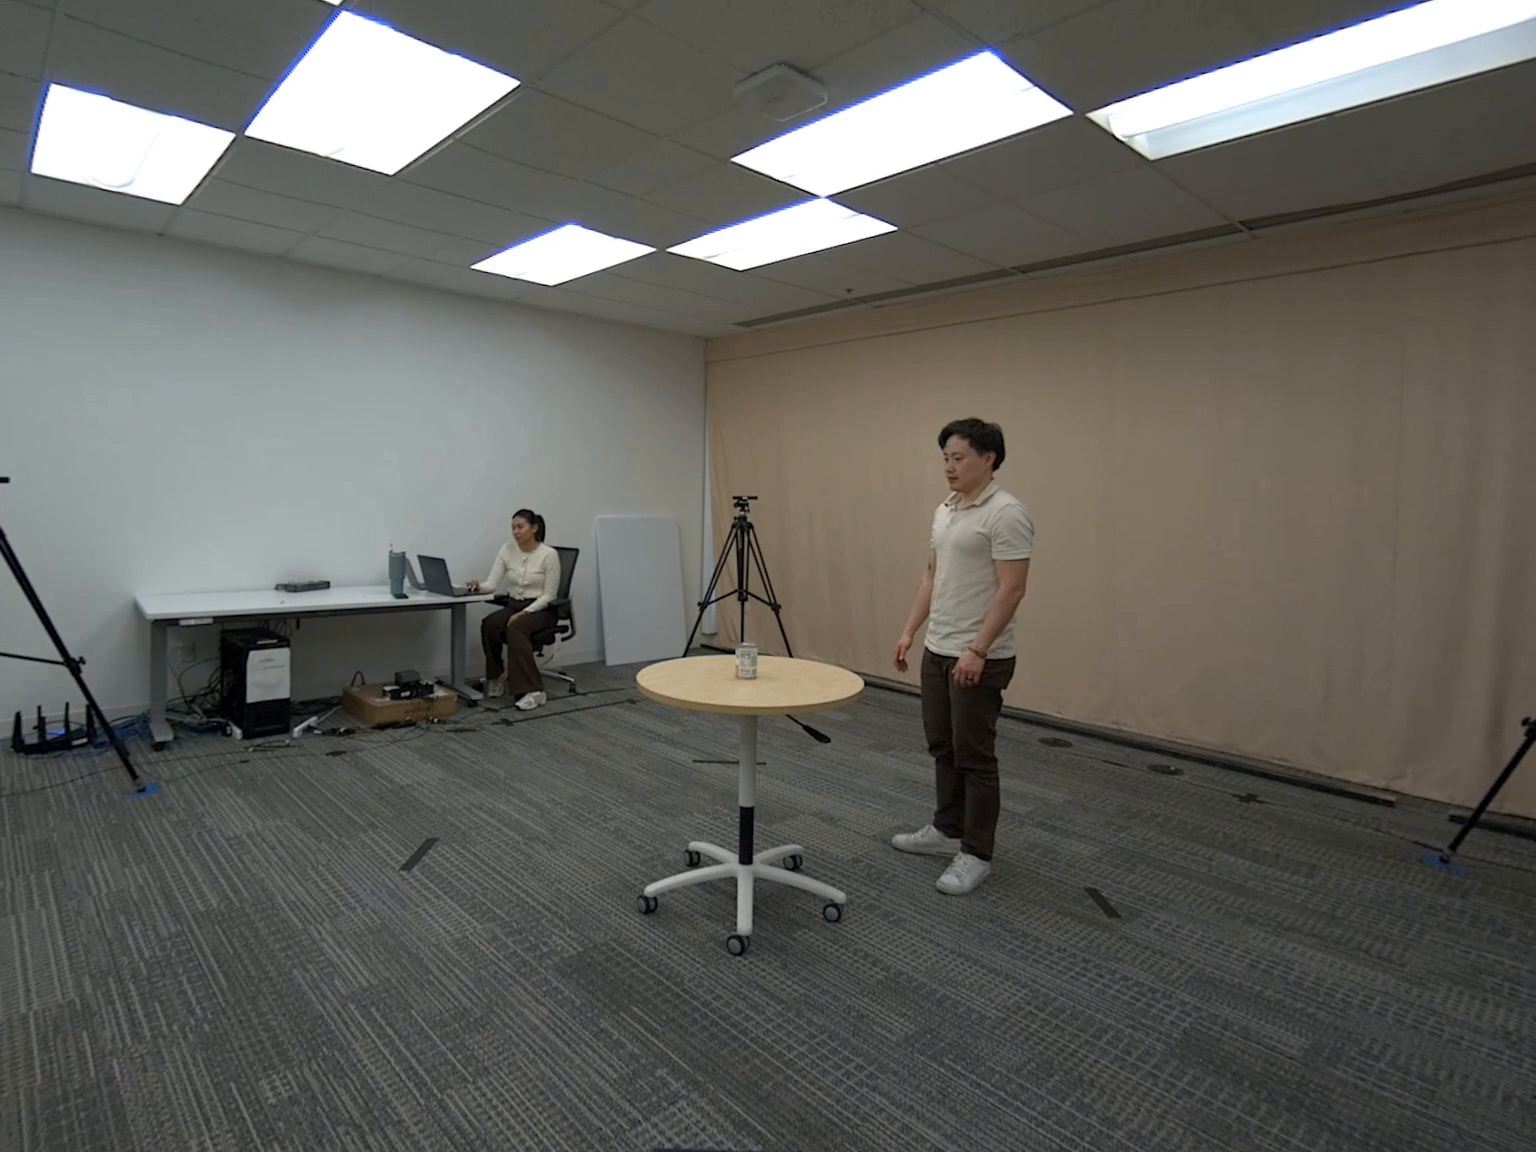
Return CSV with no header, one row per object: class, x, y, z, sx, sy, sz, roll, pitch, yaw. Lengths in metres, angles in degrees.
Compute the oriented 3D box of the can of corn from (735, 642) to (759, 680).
can of corn,-0.082,0.290,2.839,0.074,0.111,0.074,0,4,-1
